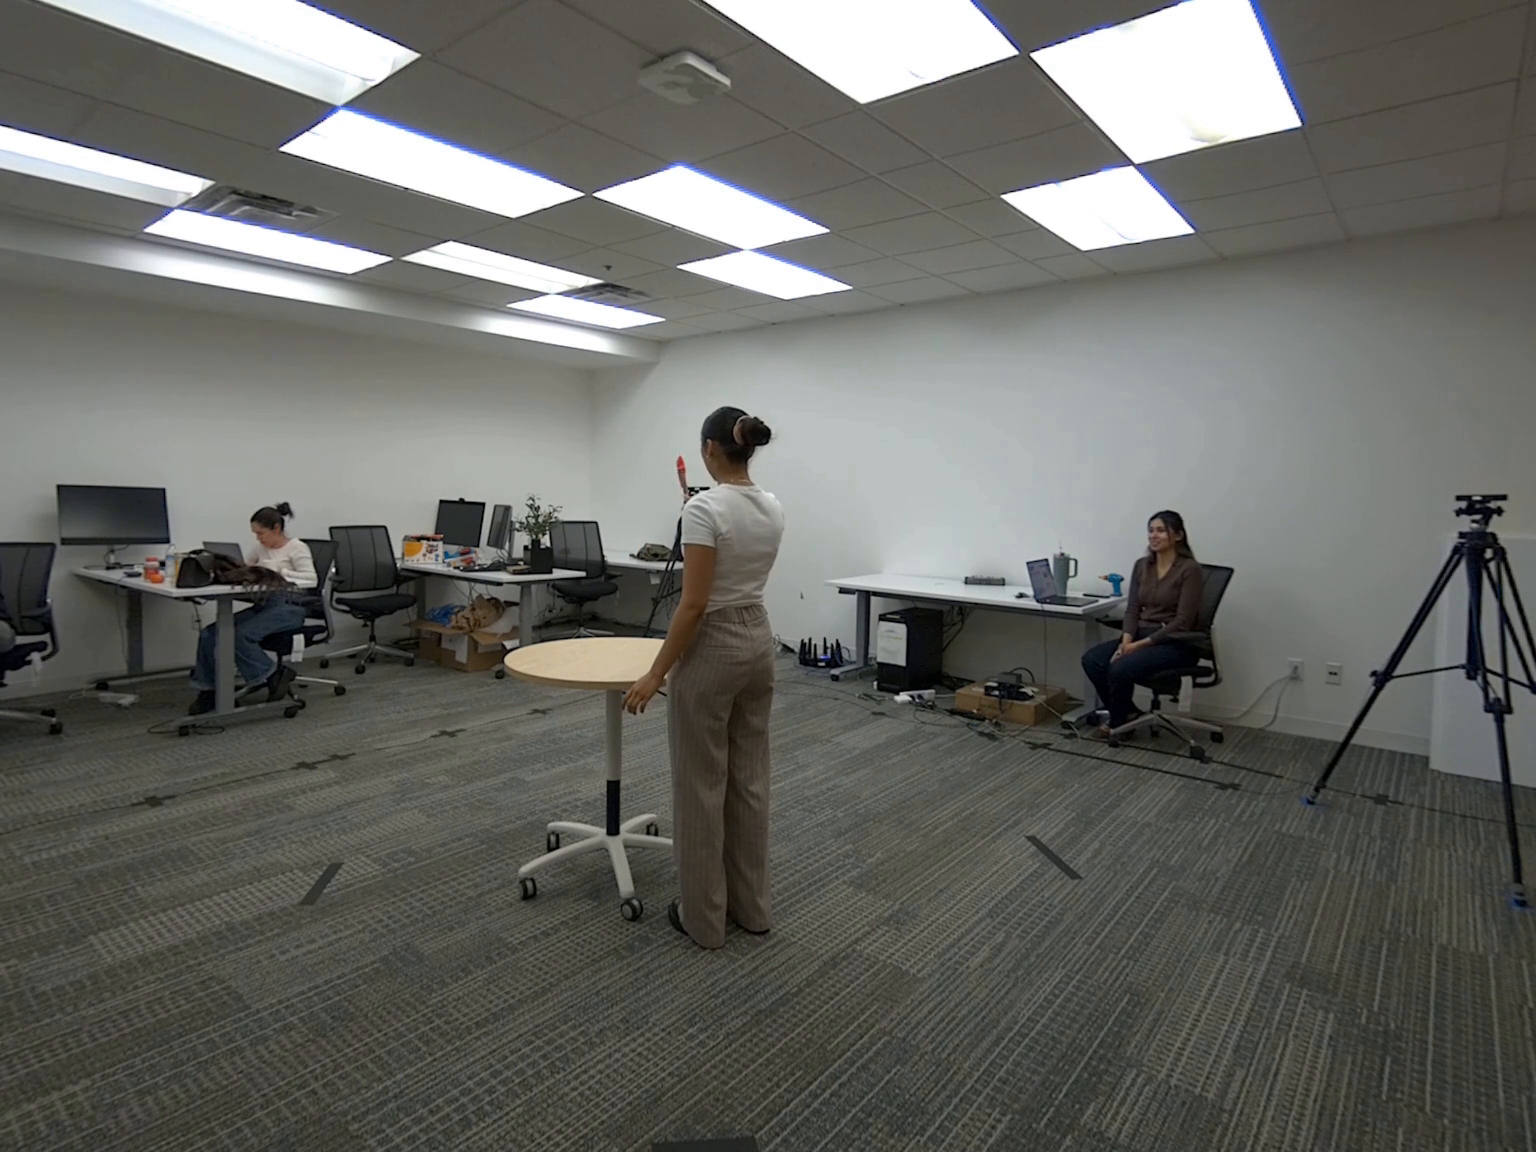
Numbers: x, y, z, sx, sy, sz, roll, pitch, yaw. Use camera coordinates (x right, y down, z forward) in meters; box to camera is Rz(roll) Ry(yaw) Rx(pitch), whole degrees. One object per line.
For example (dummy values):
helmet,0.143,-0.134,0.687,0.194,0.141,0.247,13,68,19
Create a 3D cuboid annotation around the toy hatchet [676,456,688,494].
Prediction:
toy hatchet,-0.320,-0.298,3.088,0.029,0.276,0.129,-6,-21,-10
